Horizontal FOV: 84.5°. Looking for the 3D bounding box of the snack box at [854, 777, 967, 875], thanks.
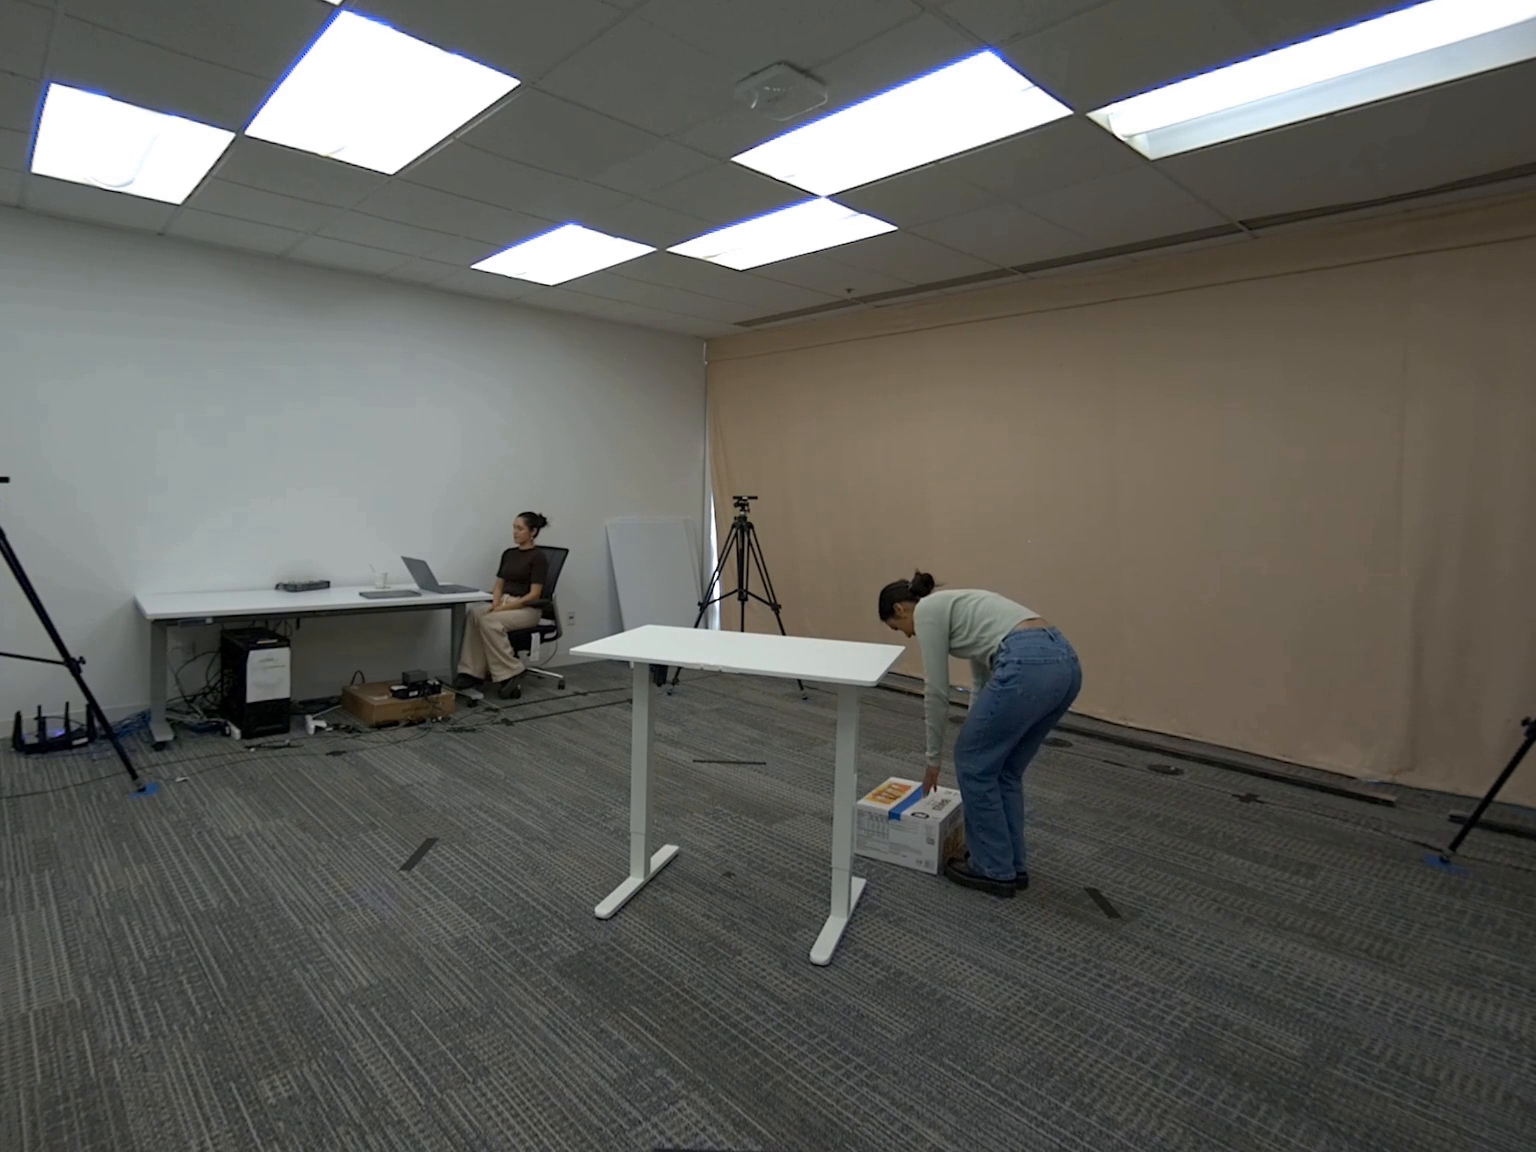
[{"bbox_3d":[0.578,0.993,3.391,0.348,0.205,0.397,4,5,31],"label":"snack box"}]
